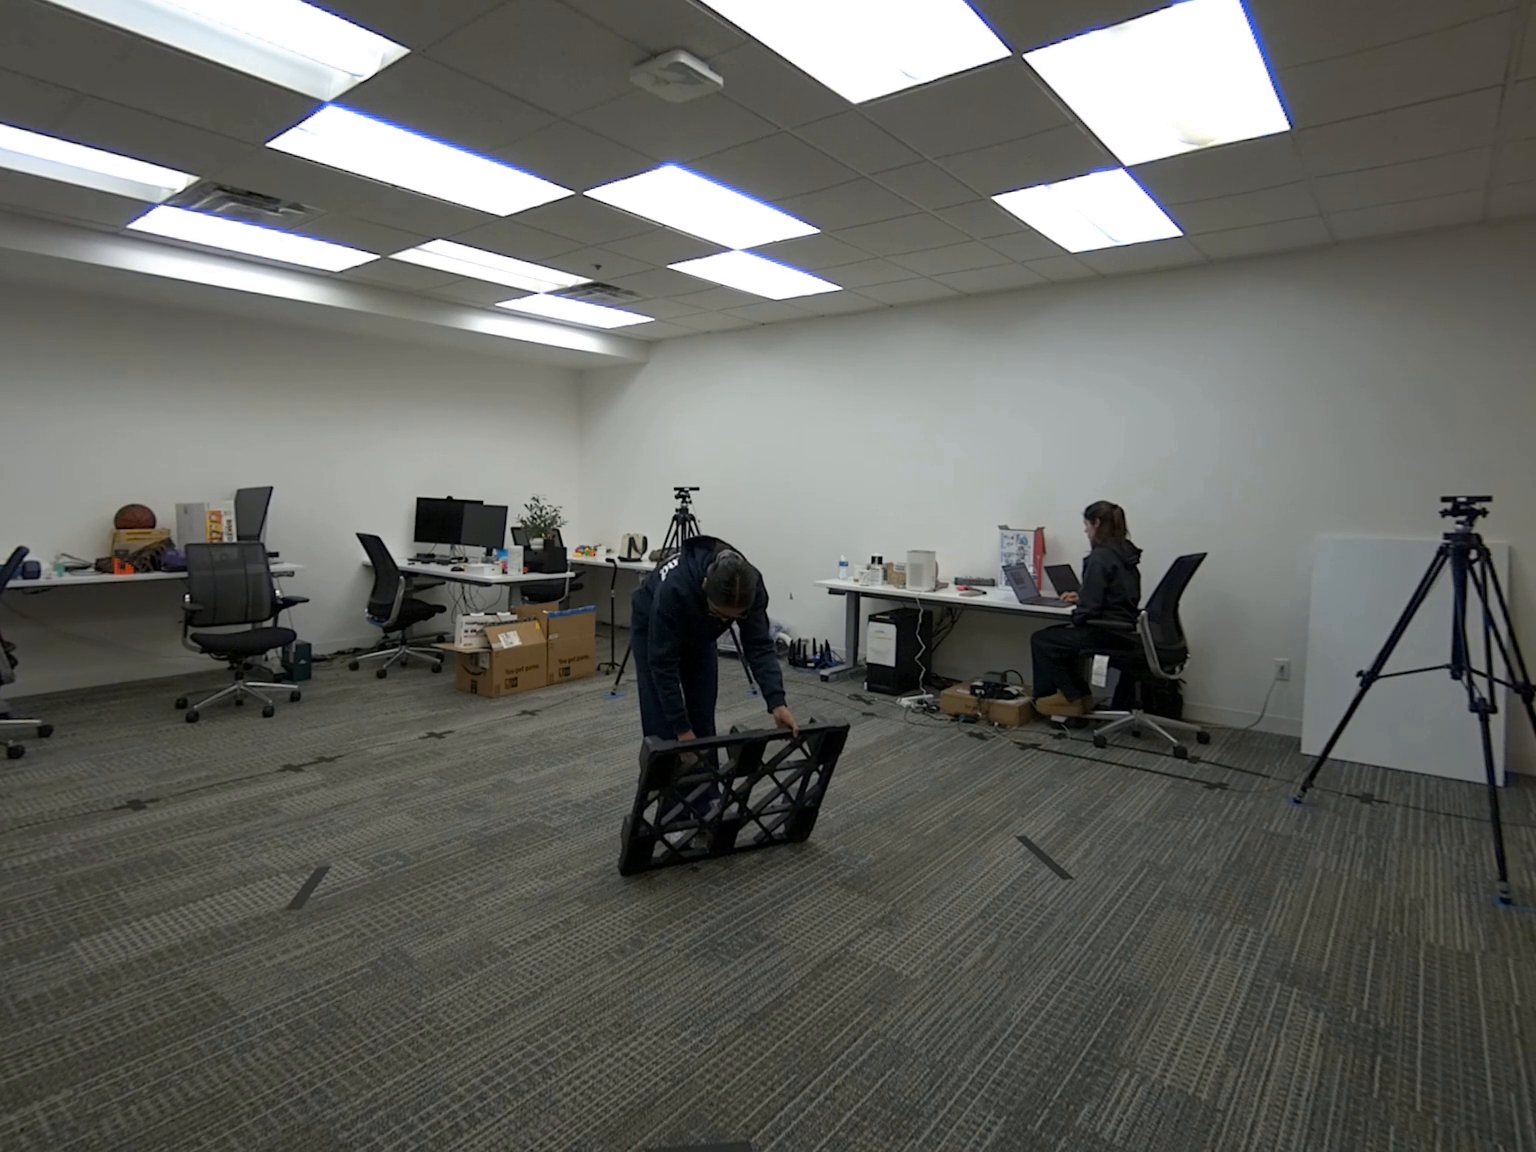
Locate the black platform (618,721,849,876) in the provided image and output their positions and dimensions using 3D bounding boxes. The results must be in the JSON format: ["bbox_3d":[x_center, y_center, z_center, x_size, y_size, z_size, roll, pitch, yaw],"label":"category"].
[{"bbox_3d":[-0.144,0.775,3.121,0.785,0.595,0.149,-1,31,-28],"label":"black platform"}]
